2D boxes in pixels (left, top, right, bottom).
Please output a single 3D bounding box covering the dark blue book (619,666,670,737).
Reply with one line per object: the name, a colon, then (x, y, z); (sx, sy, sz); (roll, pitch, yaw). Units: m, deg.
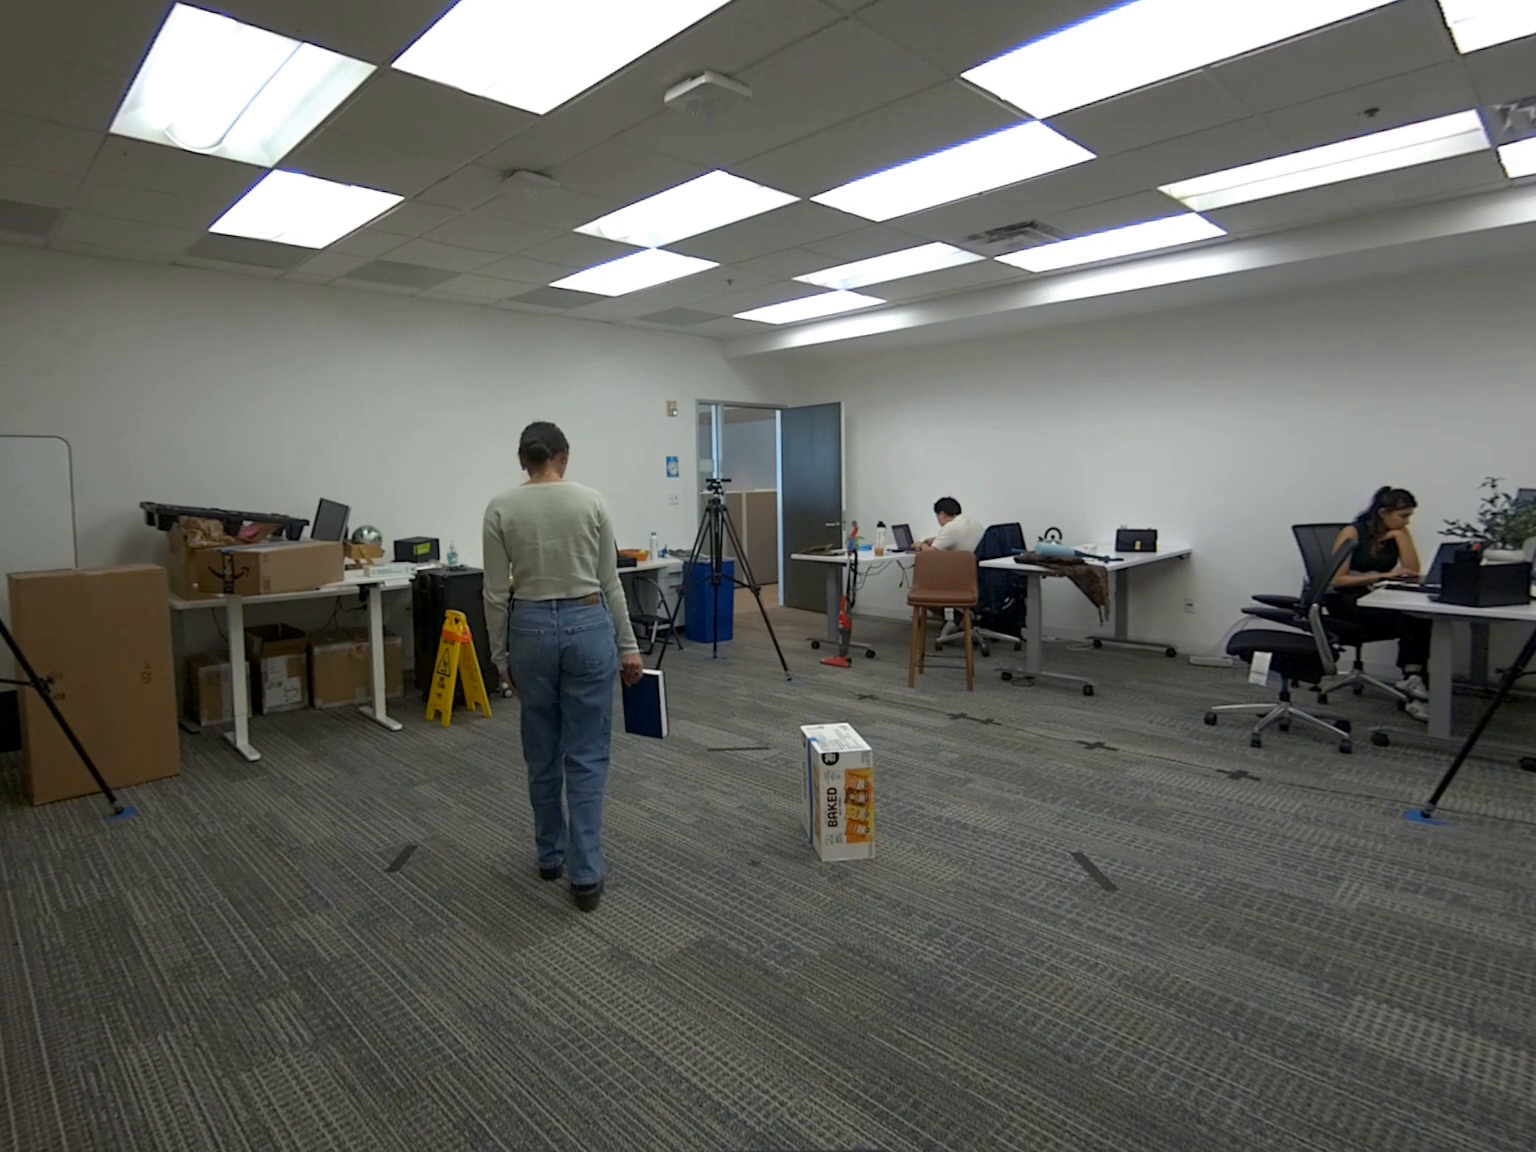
dark blue book: (-0.448, 0.447, 3.092); (0.166, 0.242, 0.045); (1, 13, 14)
